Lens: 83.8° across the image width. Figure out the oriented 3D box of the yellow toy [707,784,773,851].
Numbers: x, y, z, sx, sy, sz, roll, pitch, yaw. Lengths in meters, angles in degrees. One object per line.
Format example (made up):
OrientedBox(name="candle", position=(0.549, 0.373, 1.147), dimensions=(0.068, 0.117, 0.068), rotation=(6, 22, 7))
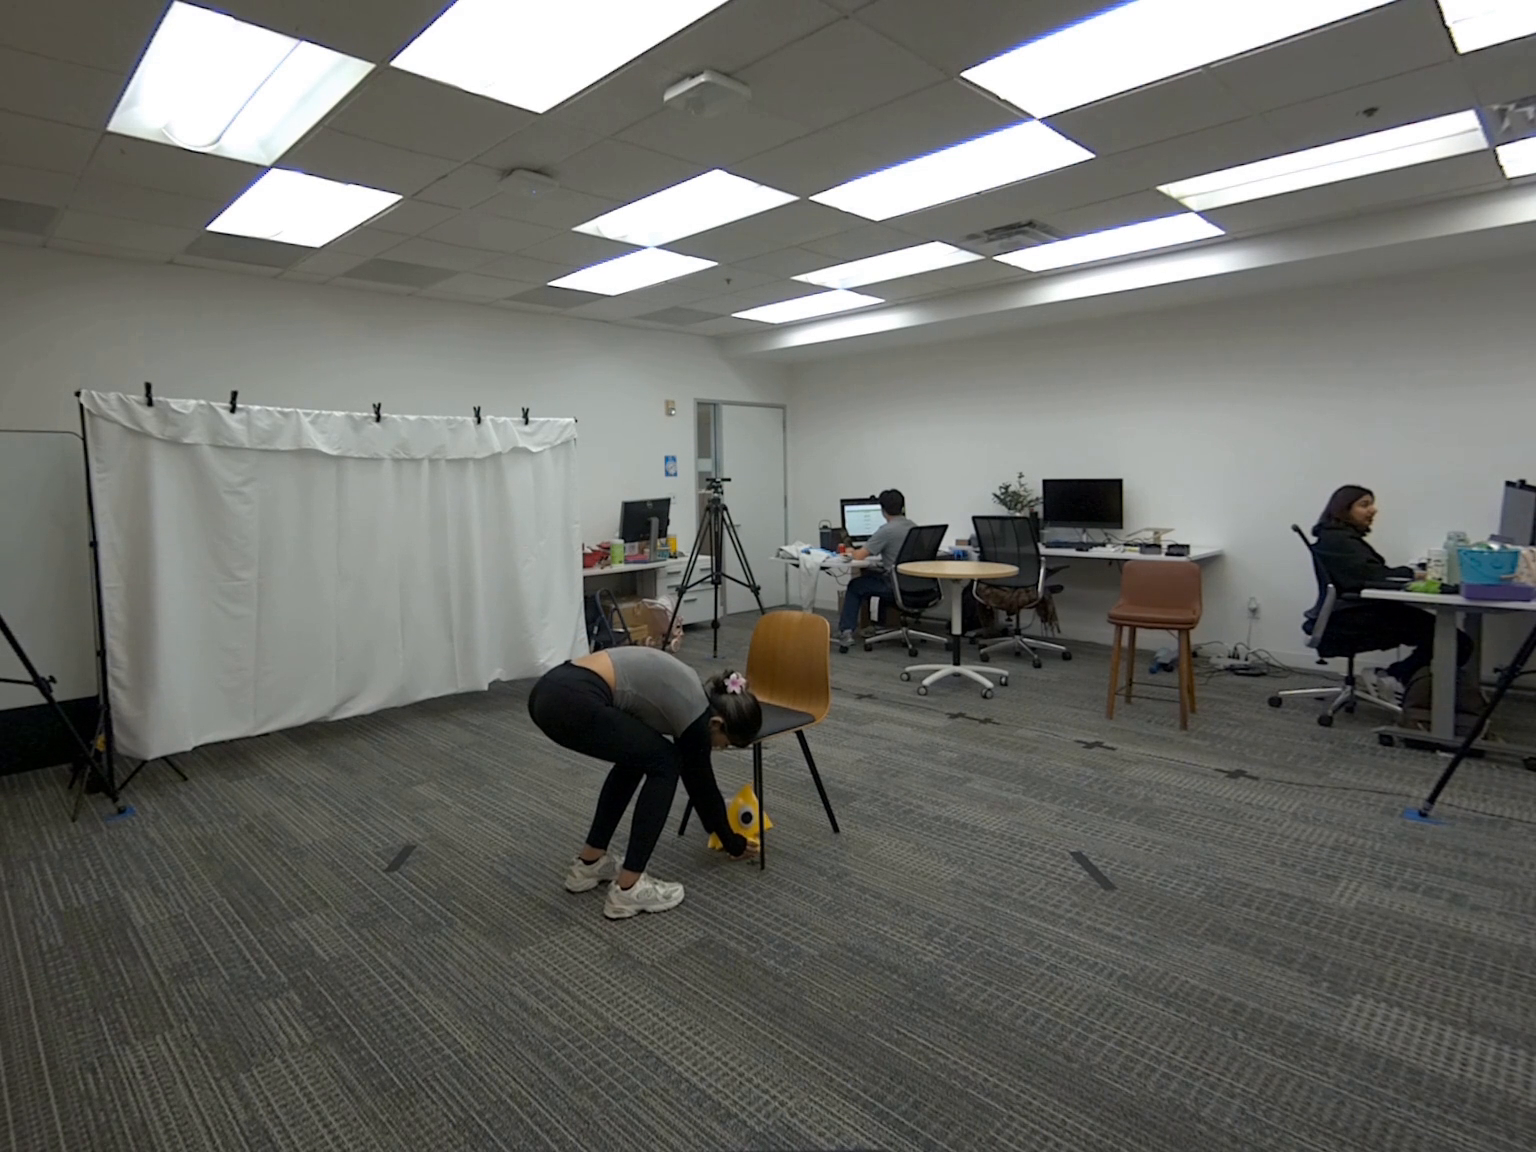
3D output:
OrientedBox(name="yellow toy", position=(-0.116, 0.917, 3.241), dimensions=(0.211, 0.230, 0.188), rotation=(4, 5, 45))
